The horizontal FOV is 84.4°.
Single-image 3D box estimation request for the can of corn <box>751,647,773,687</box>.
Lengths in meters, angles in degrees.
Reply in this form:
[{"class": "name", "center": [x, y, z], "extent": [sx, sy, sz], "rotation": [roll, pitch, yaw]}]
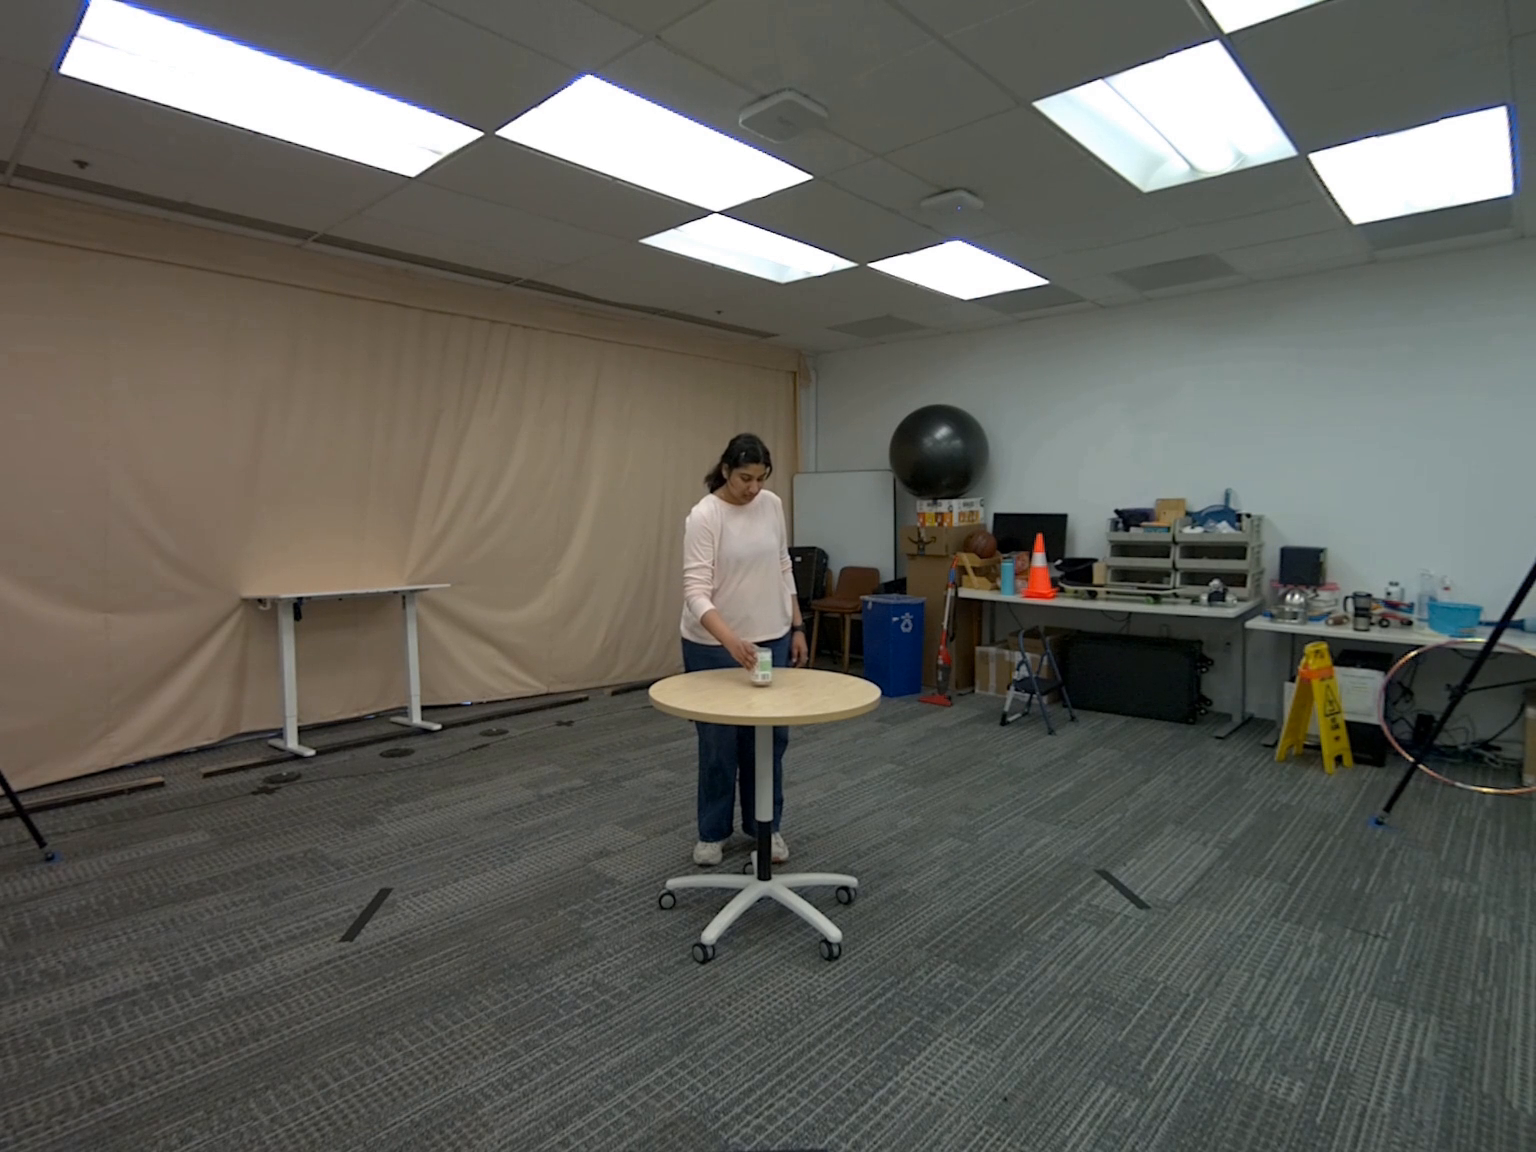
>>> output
[{"class": "can of corn", "center": [-0.021, 0.304, 2.843], "extent": [0.074, 0.111, 0.074], "rotation": [0, -3, -2]}]
